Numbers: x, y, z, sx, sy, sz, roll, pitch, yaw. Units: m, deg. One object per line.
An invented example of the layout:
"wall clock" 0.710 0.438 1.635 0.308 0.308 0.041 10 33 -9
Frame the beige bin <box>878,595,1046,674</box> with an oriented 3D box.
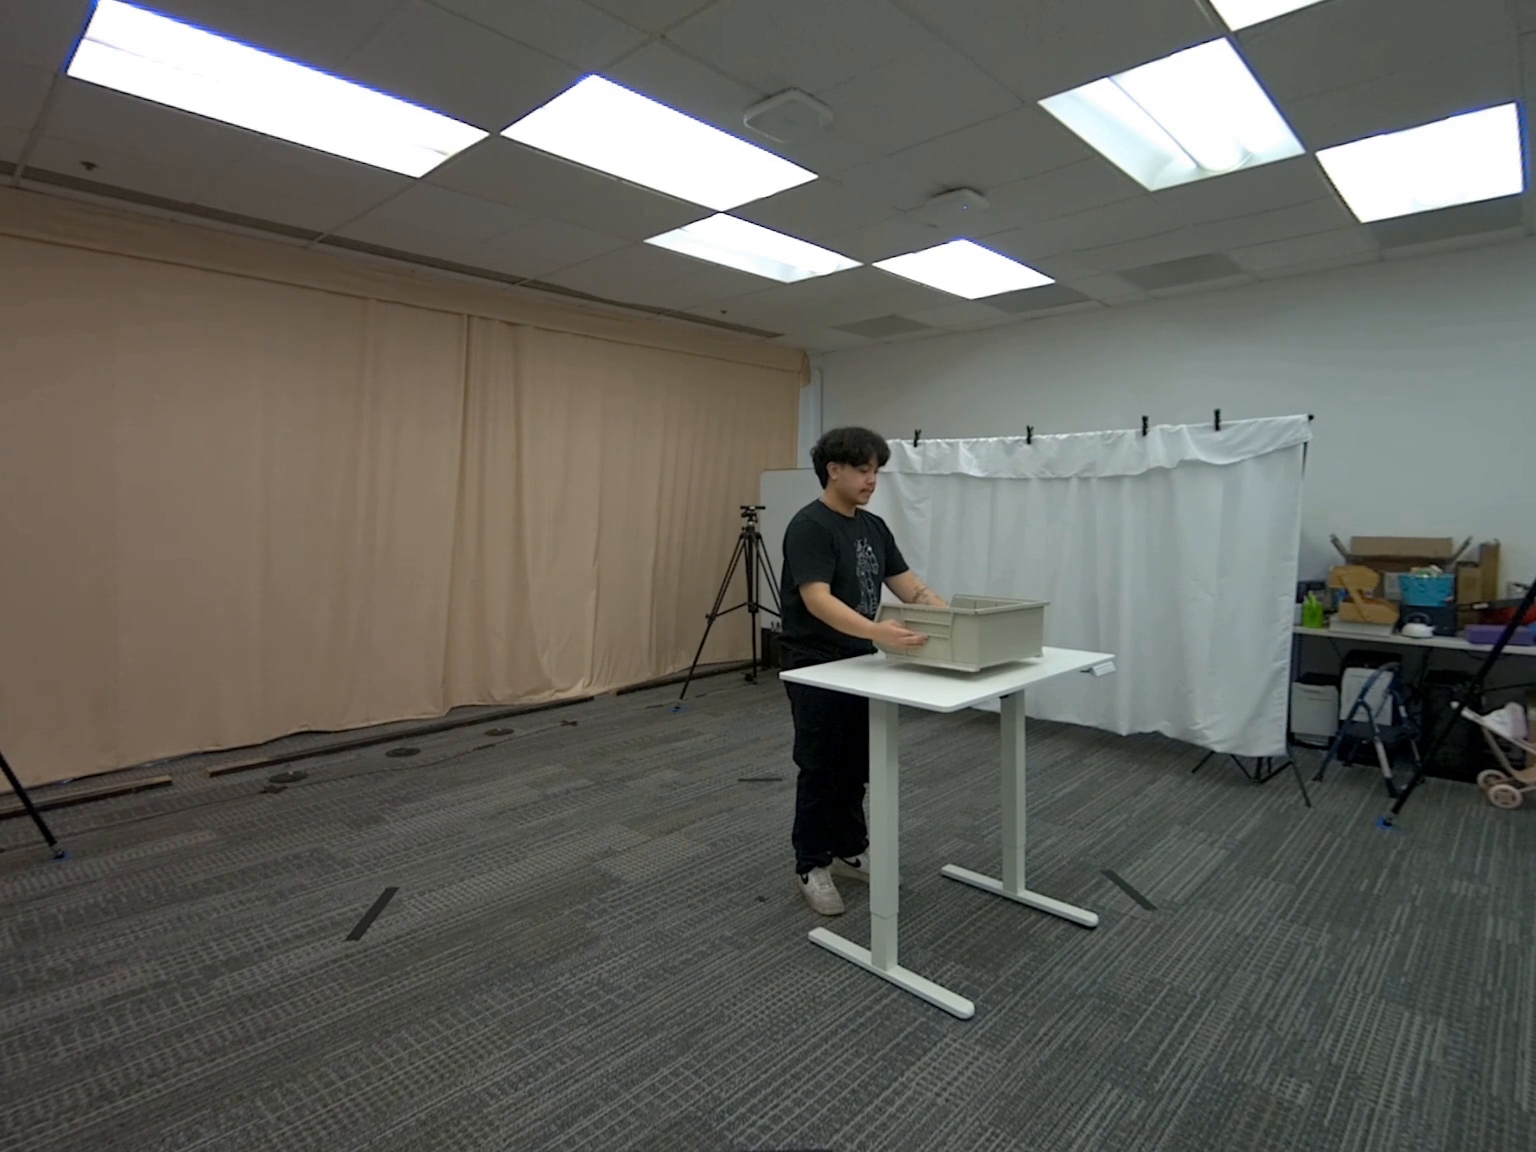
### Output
"beige bin" 0.614 0.170 2.667 0.409 0.188 0.390 -2 6 -41
